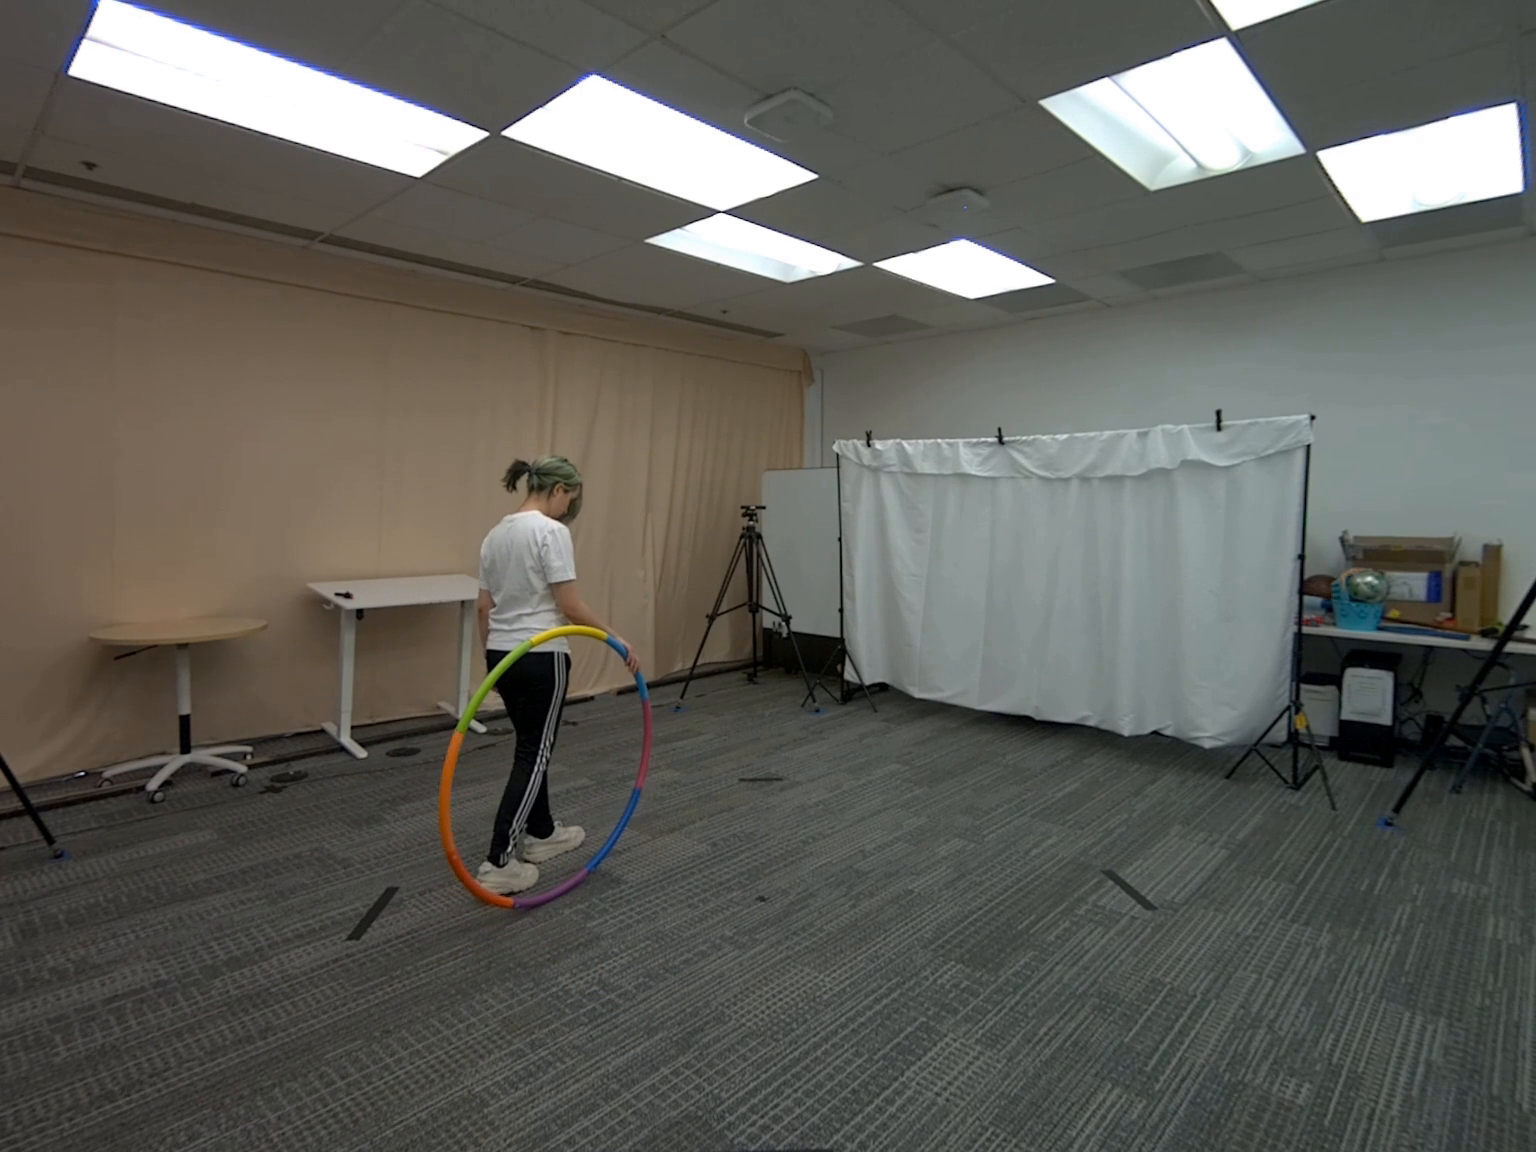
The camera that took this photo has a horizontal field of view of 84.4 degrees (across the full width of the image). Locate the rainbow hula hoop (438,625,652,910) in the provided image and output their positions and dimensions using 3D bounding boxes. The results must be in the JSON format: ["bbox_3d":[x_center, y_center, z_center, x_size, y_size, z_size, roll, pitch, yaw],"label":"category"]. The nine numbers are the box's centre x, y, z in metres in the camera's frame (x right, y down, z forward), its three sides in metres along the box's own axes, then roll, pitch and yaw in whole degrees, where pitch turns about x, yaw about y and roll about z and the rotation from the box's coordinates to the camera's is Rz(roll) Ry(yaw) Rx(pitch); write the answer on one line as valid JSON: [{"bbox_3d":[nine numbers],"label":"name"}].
[{"bbox_3d":[-0.733,0.668,2.973,0.037,0.975,0.951,7,7,33],"label":"rainbow hula hoop"}]
